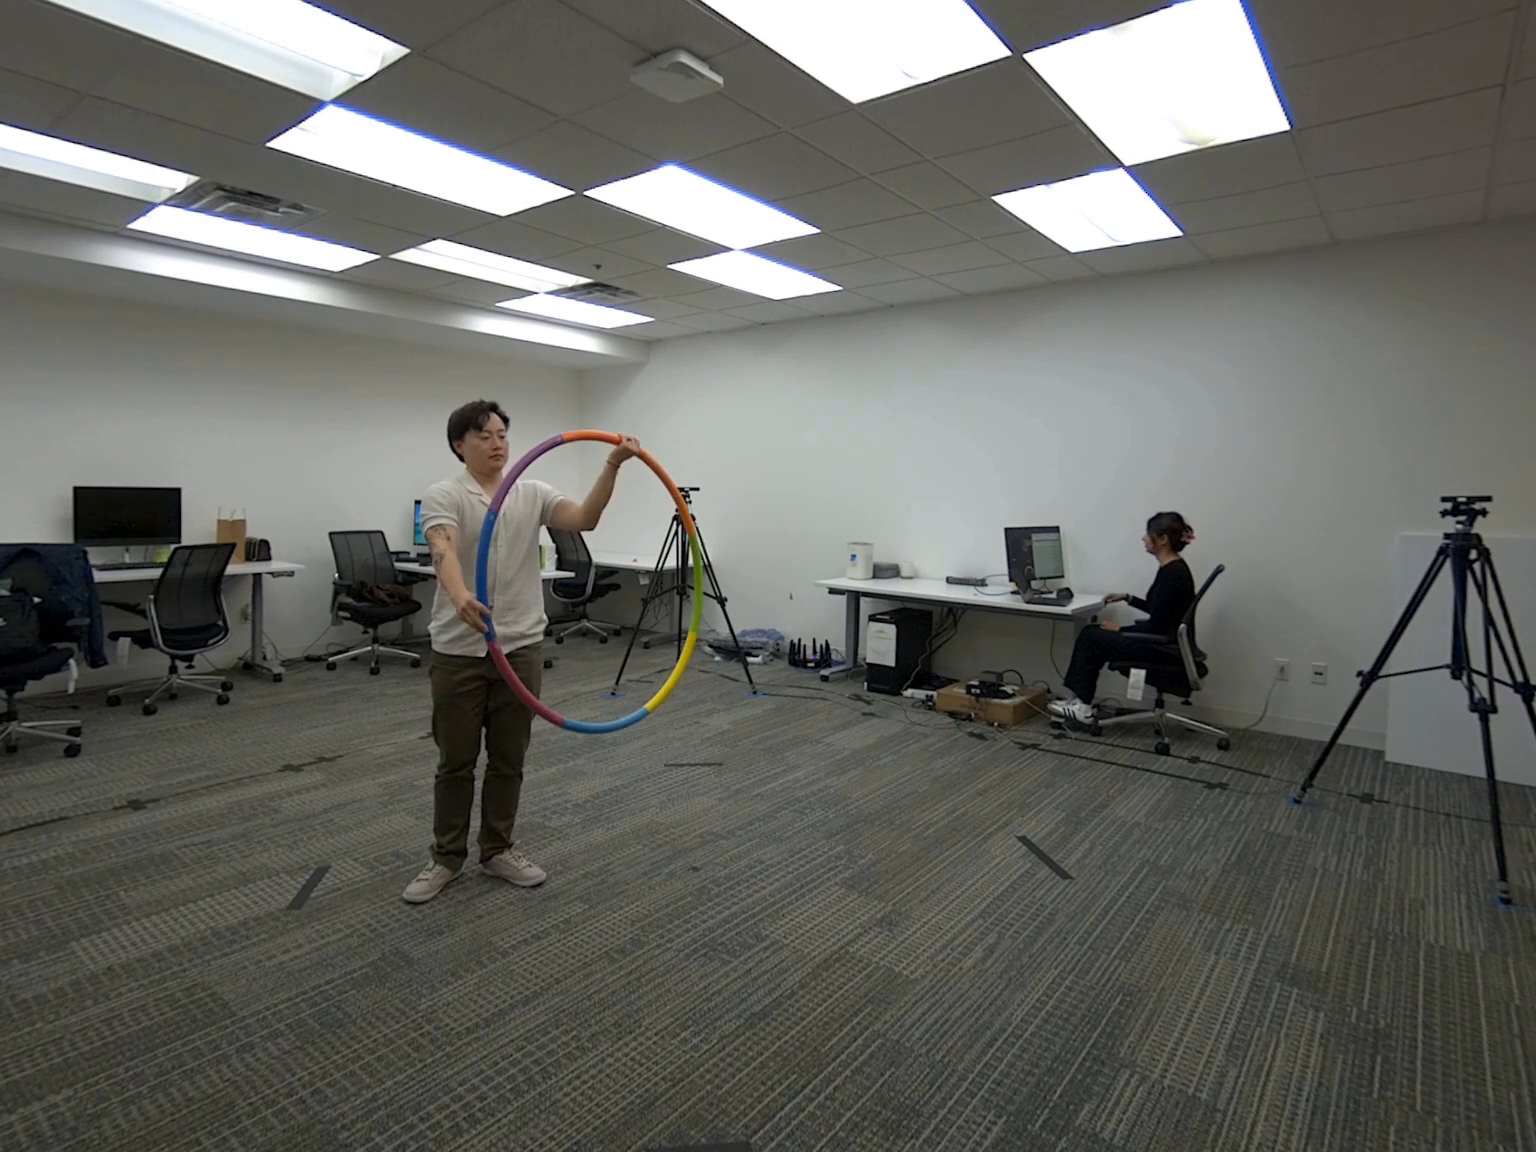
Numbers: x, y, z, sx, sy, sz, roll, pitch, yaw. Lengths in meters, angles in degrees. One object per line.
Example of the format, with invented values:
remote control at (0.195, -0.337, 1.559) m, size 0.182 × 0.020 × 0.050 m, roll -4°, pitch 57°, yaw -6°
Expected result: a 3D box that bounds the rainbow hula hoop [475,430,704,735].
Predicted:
rainbow hula hoop at (-0.553, 0.005, 2.803) m, size 0.036 × 0.981 × 0.950 m, roll -8°, pitch -2°, yaw 38°
